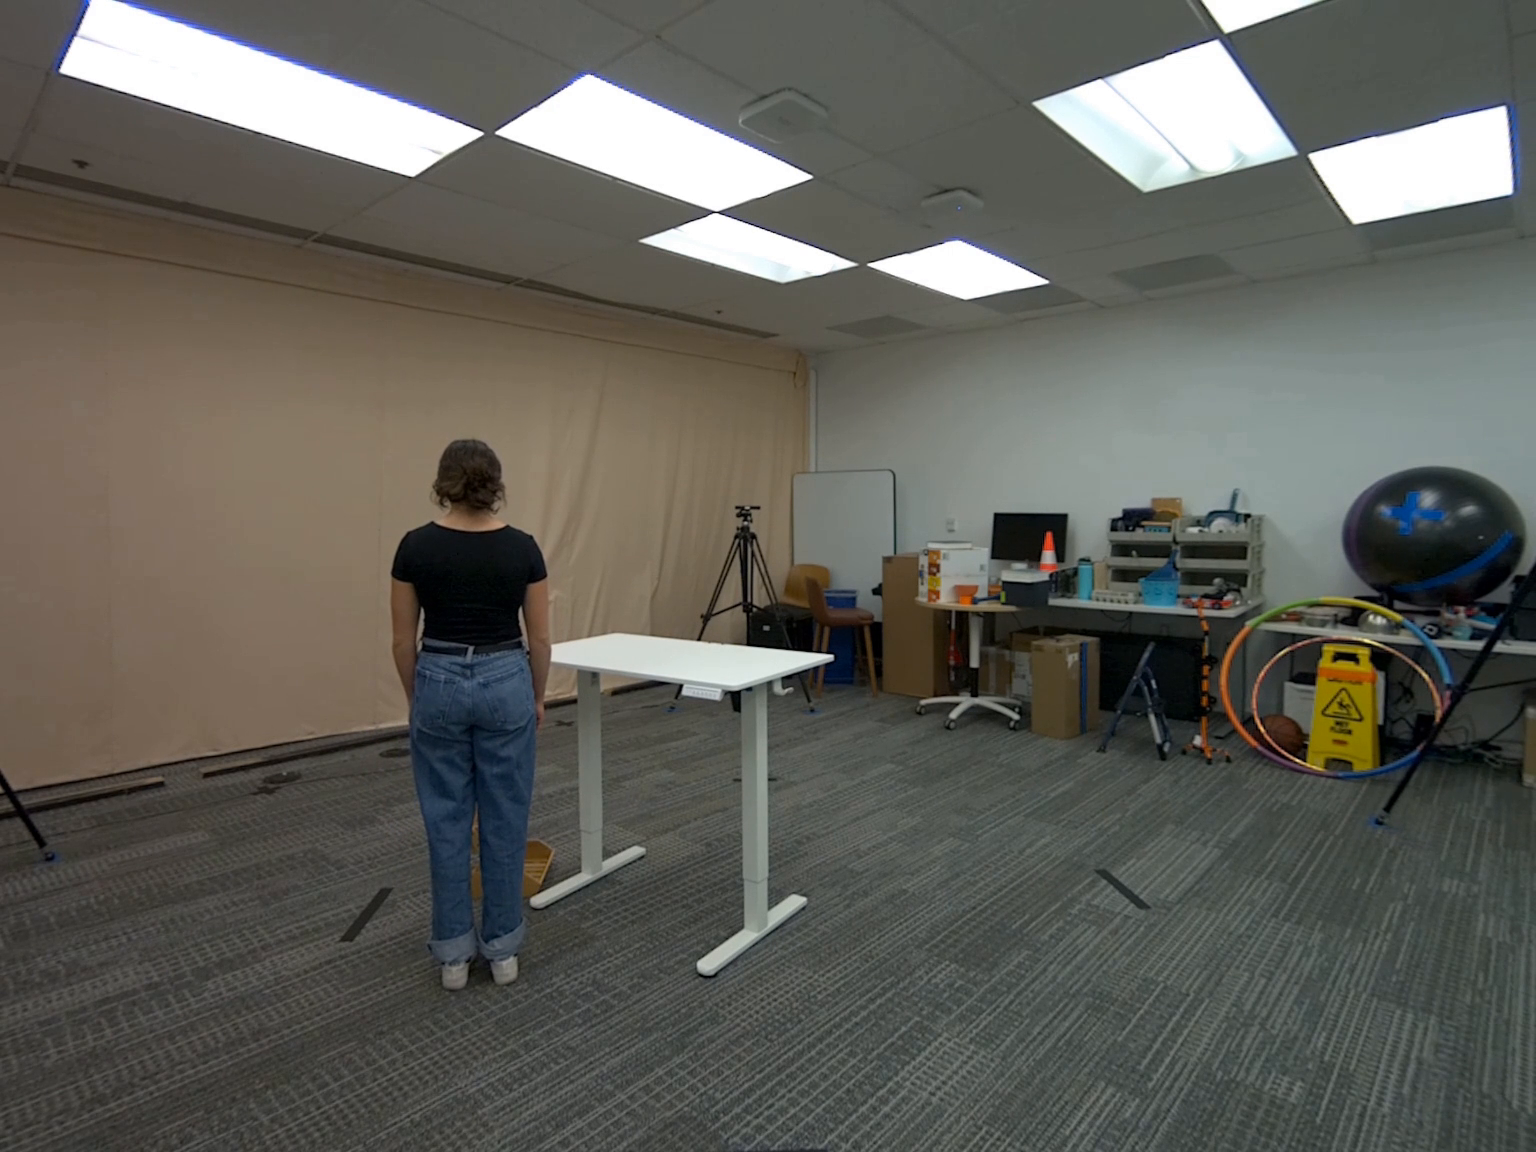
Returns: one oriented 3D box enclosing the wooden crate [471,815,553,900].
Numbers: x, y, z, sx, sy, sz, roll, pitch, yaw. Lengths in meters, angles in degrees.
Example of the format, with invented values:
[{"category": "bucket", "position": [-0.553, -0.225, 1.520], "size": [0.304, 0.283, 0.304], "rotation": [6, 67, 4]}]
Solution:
[{"category": "wooden crate", "position": [-0.960, 0.998, 3.145], "size": [0.301, 0.273, 0.326], "rotation": [-2, 4, -3]}]
